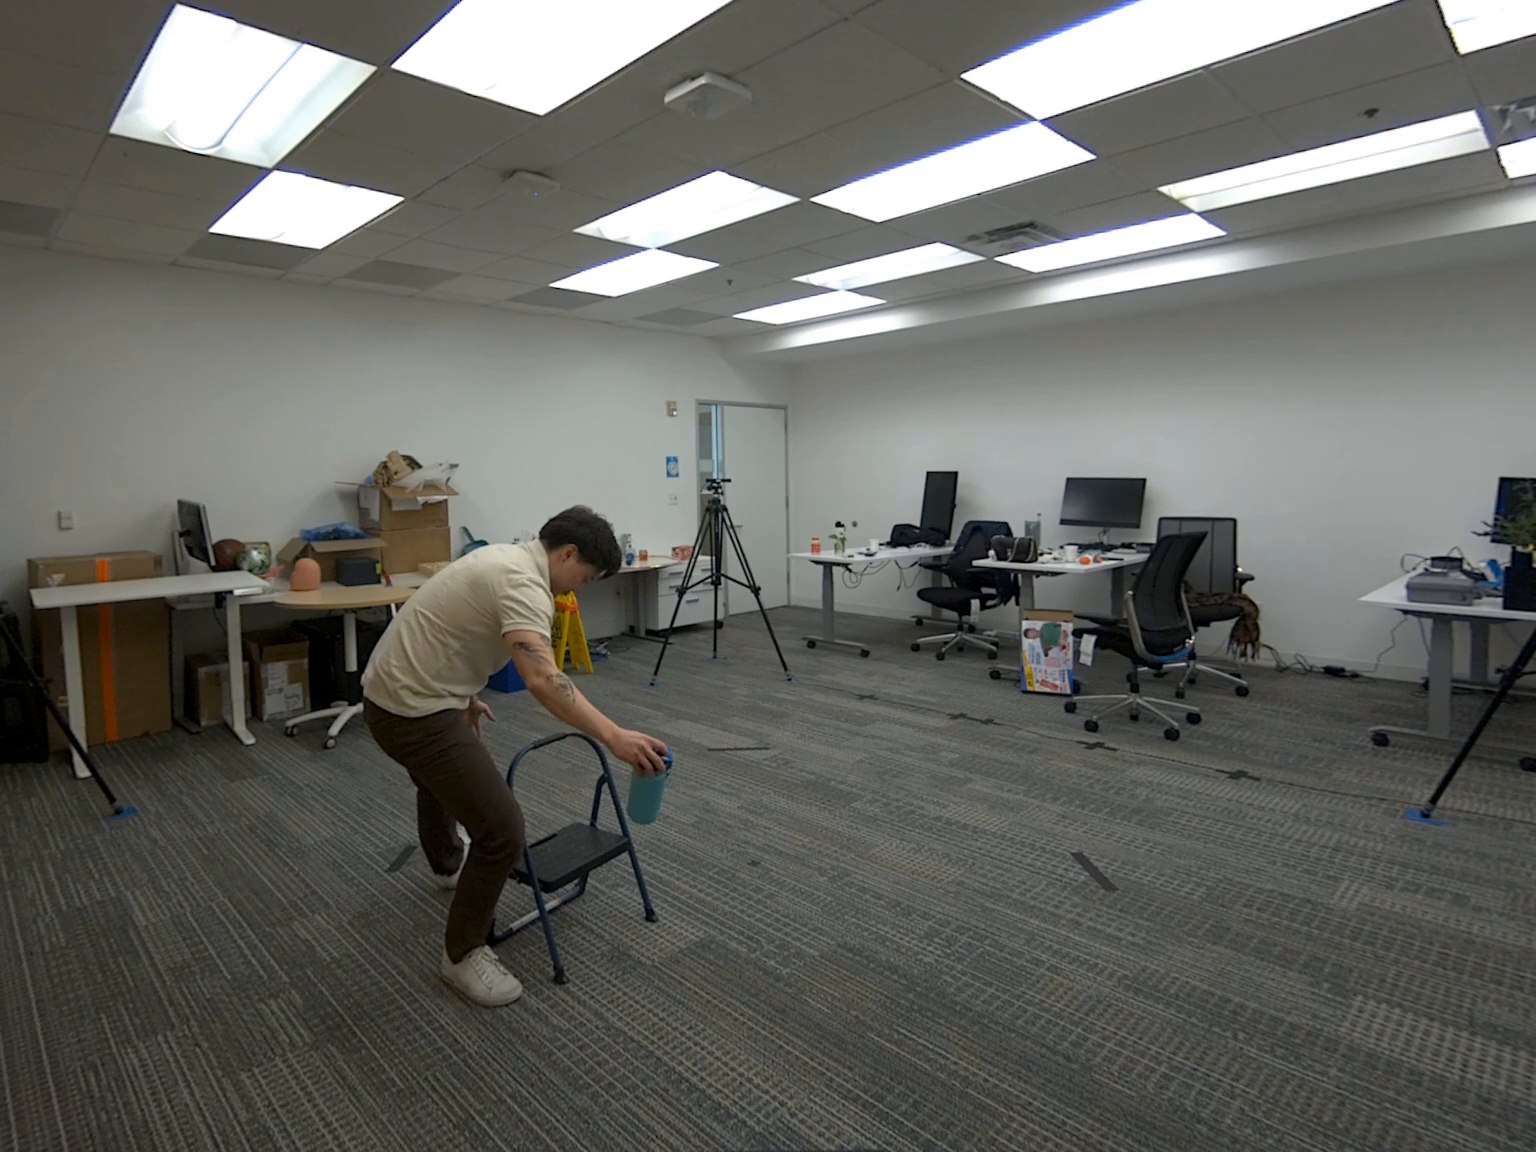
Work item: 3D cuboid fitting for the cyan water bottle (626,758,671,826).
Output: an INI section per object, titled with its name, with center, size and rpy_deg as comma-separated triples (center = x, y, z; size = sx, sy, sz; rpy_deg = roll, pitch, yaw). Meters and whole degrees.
[cyan water bottle]
center = -0.316, 0.538, 2.186
size = 0.091, 0.278, 0.095
rpy_deg = 9, 43, -10
